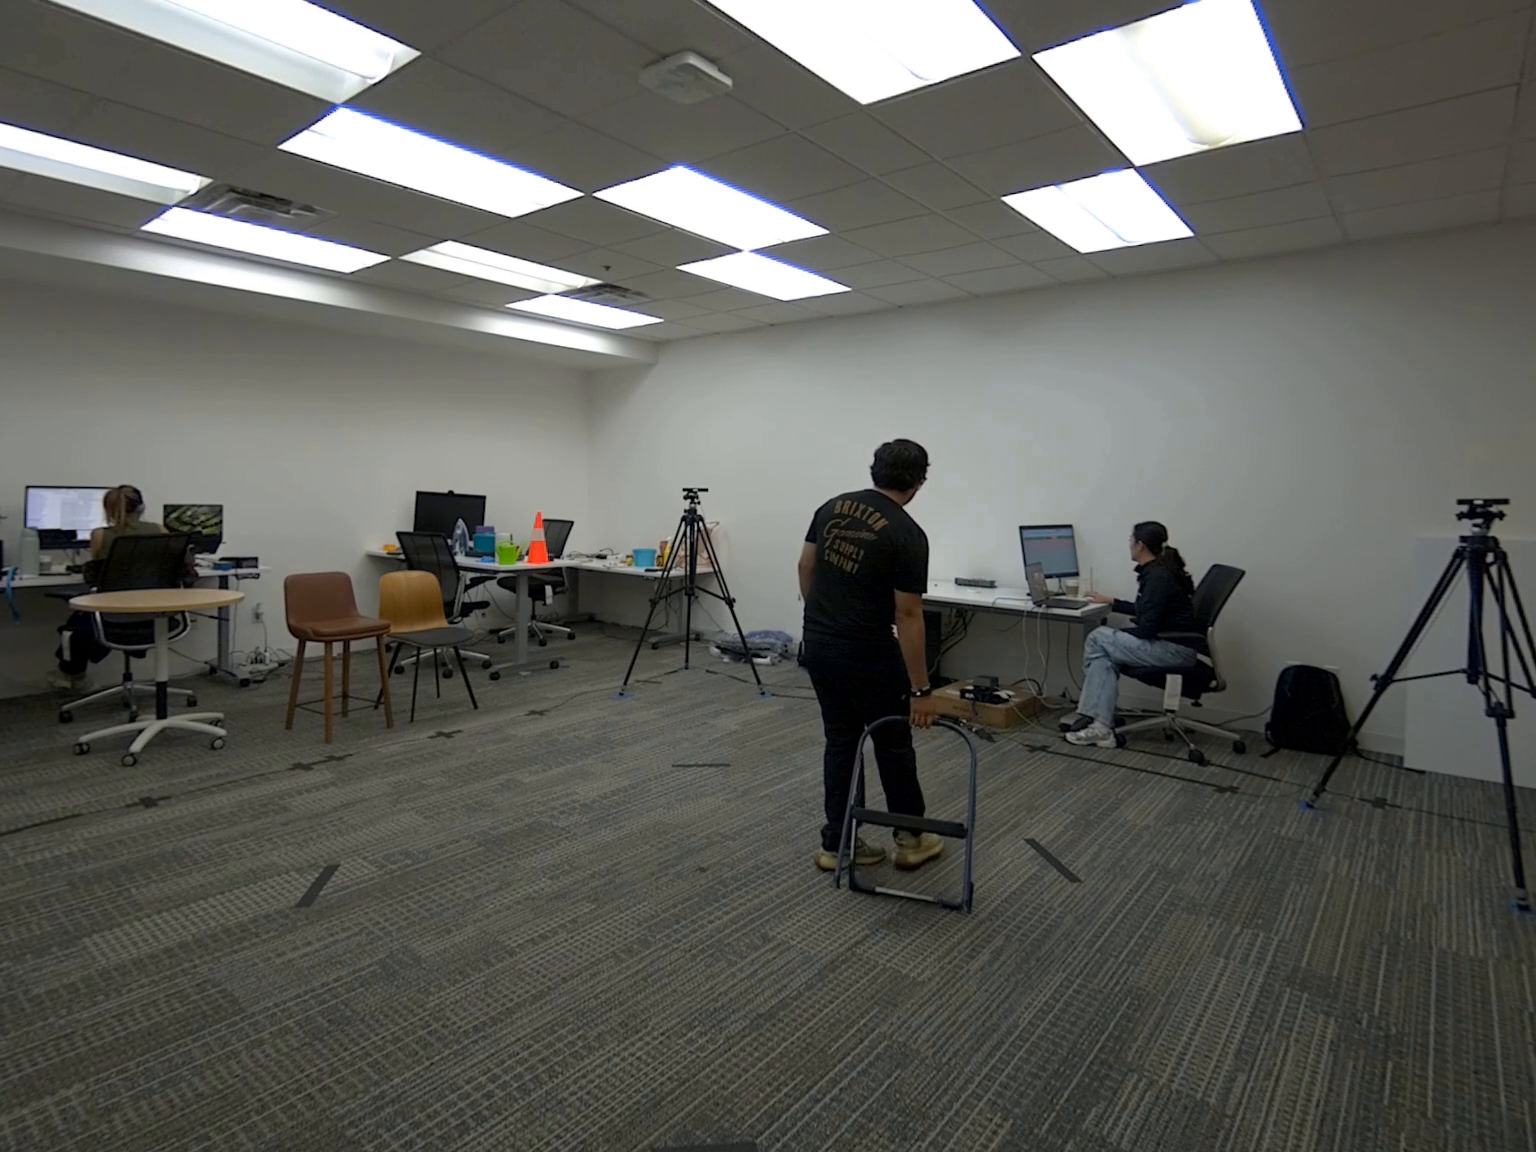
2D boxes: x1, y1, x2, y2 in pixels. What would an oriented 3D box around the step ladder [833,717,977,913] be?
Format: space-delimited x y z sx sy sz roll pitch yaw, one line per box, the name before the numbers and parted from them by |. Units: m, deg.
step ladder | 0.489 0.770 2.879 0.439 0.615 0.338 3 -21 16
